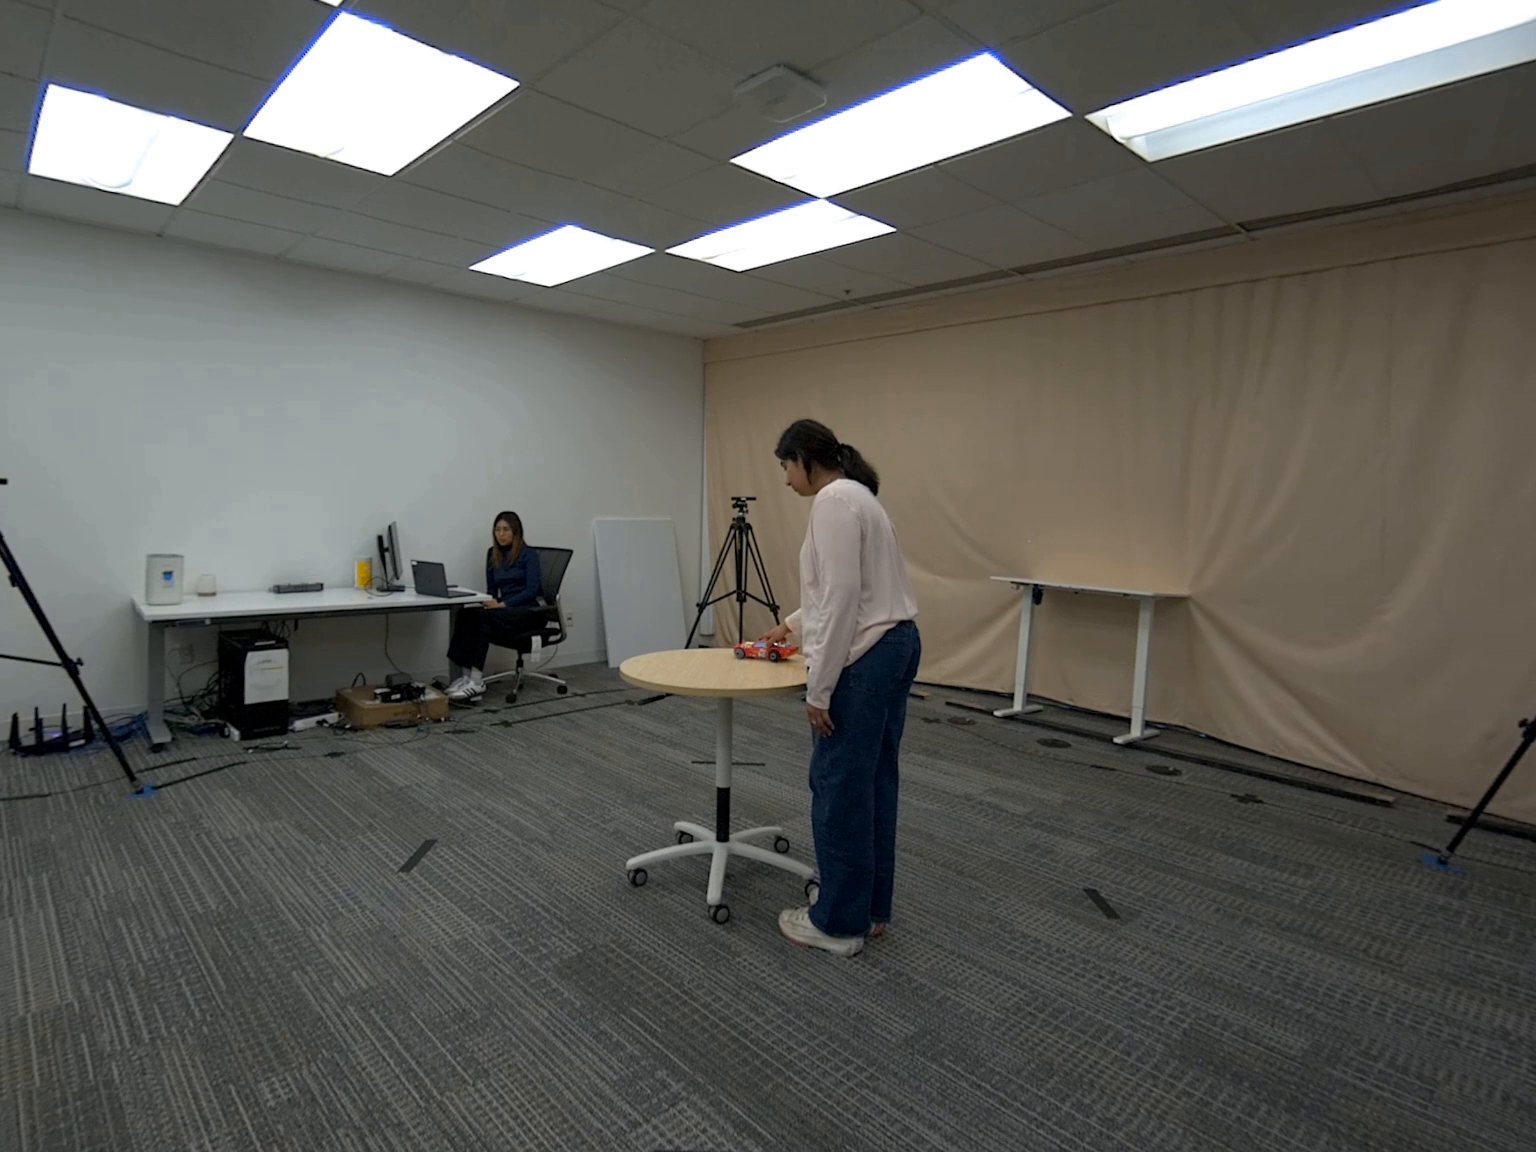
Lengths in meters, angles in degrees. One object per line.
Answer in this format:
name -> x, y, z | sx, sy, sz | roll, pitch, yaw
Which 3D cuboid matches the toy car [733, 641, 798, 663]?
toy car -> -0.010, 0.288, 3.199 | 0.259, 0.083, 0.128 | -9, -1, 27
